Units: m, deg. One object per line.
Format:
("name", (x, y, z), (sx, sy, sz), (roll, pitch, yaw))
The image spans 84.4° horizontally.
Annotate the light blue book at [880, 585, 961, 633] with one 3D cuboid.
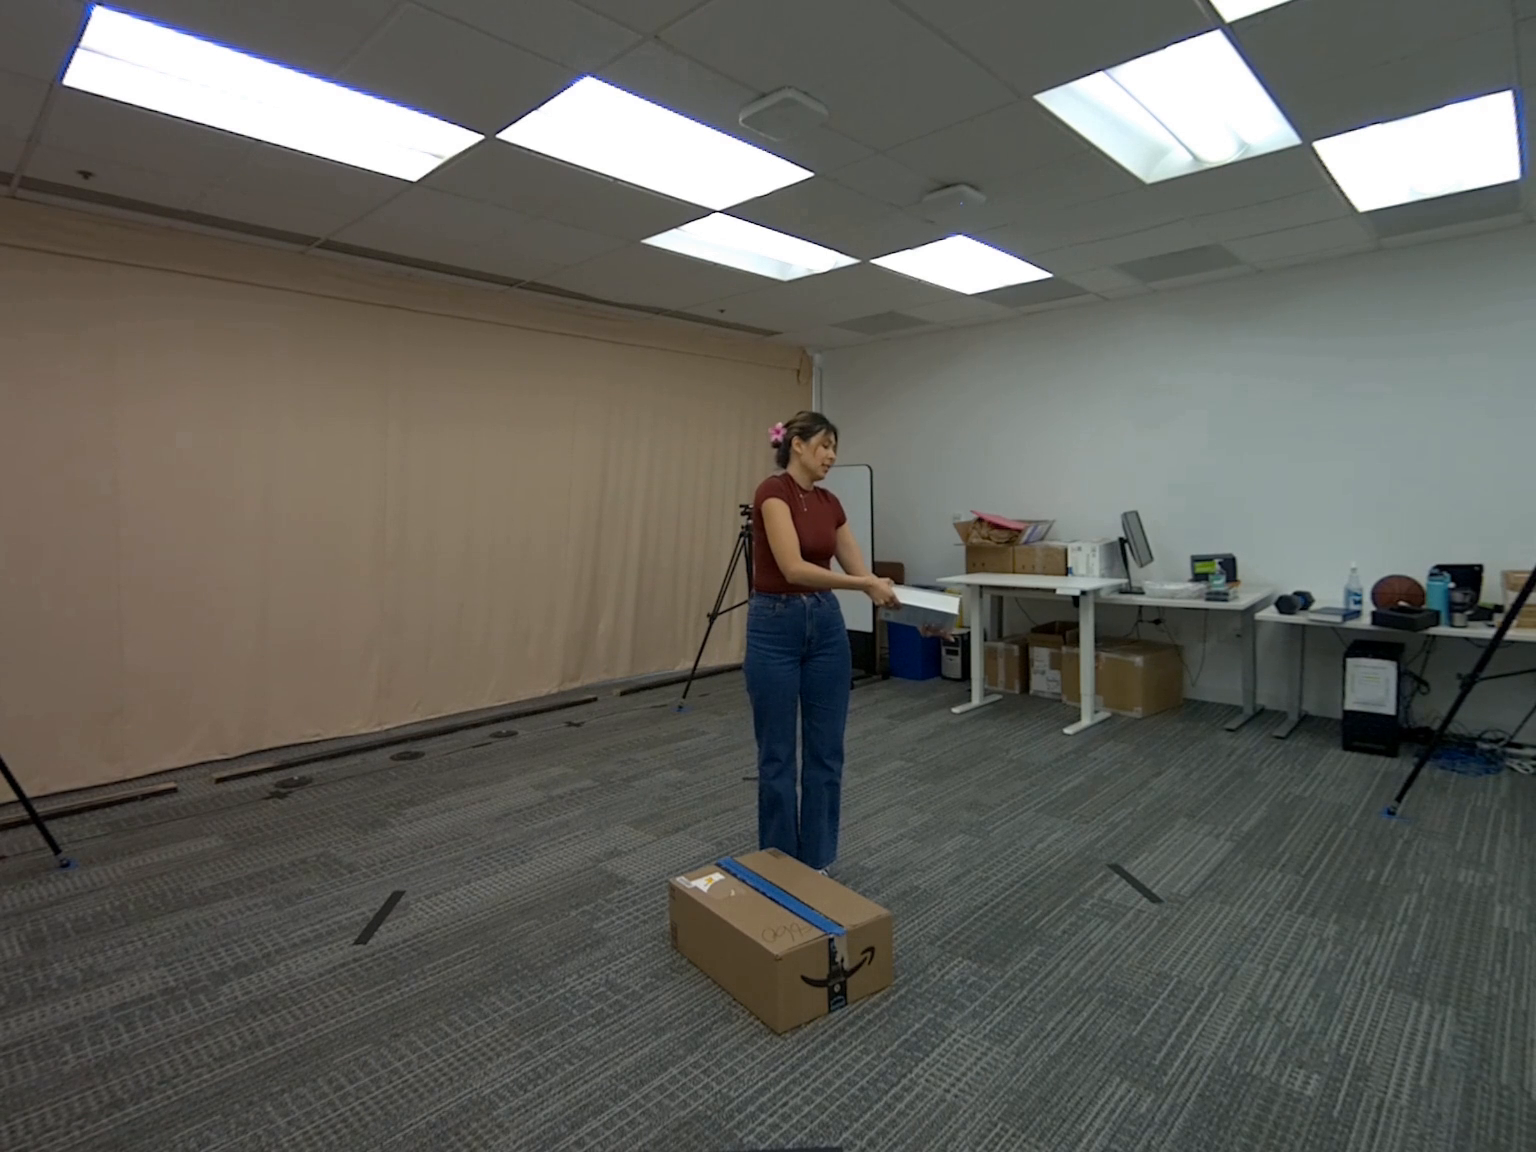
("light blue book", (0.517, 0.109, 2.900), (0.264, 0.059, 0.188), (9, -25, 9))
